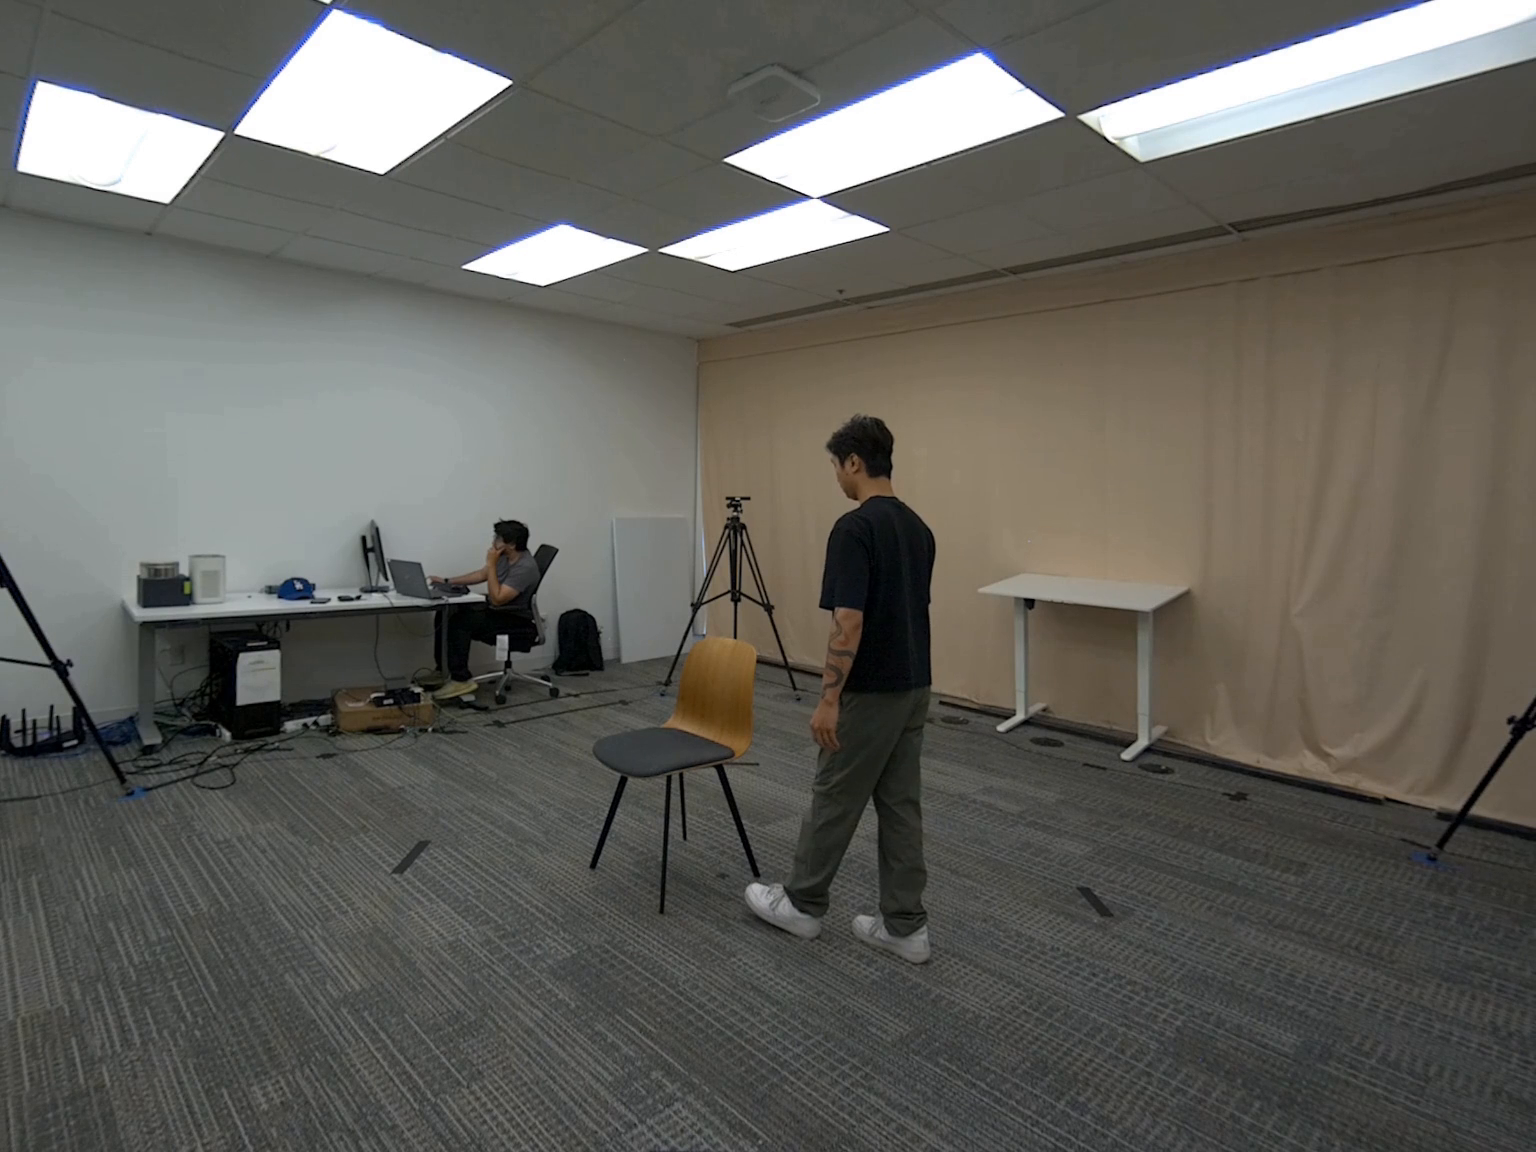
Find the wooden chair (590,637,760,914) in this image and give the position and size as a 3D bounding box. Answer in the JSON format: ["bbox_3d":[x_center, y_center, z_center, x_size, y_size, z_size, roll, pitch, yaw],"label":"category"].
[{"bbox_3d":[-0.348,0.677,3.087,0.510,0.877,0.490,4,1,-42],"label":"wooden chair"}]
